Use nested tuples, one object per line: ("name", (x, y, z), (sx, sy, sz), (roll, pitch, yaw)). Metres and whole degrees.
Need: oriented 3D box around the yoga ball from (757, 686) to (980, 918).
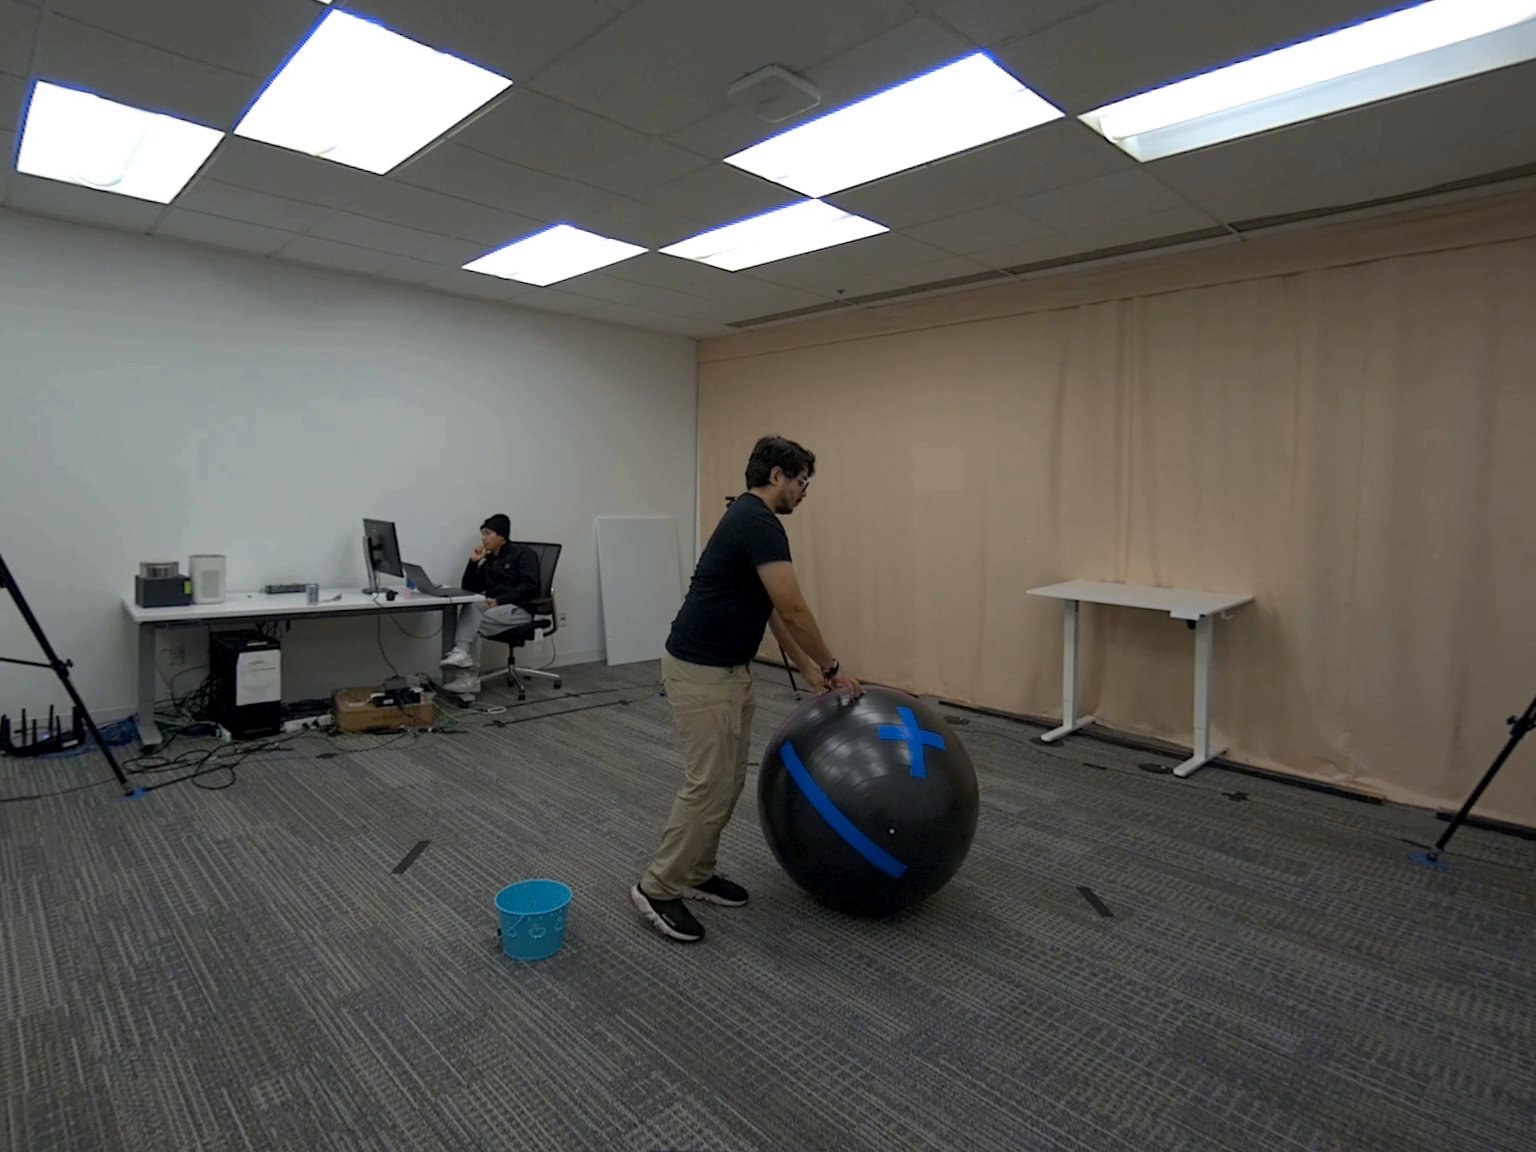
("yoga ball", (0.342, 0.767, 2.934), (0.757, 0.756, 0.761), (1, 4, -1))
